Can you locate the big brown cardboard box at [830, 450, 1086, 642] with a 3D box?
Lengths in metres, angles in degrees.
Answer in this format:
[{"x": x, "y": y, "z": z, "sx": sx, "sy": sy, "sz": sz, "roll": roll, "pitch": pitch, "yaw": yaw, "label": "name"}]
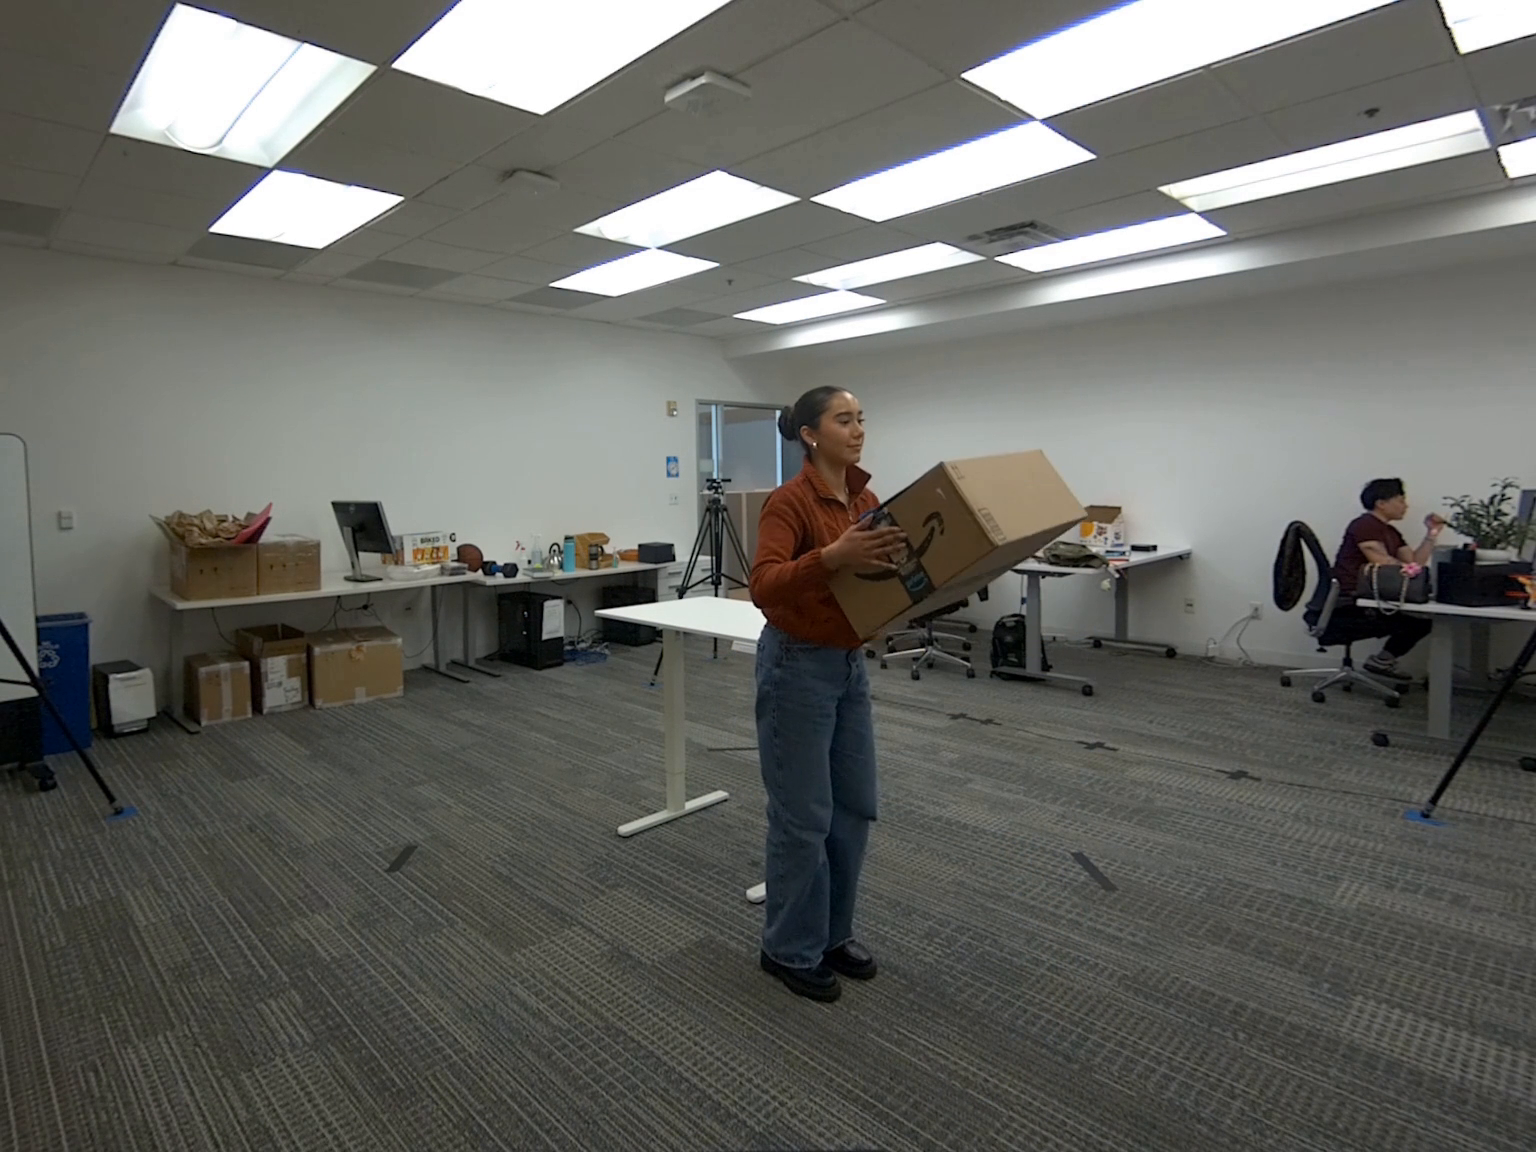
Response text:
[{"x": 0.460, "y": -0.083, "z": 2.095, "sx": 0.575, "sy": 0.237, "sz": 0.419, "roll": -13, "pitch": -20, "yaw": -50, "label": "big brown cardboard box"}]
